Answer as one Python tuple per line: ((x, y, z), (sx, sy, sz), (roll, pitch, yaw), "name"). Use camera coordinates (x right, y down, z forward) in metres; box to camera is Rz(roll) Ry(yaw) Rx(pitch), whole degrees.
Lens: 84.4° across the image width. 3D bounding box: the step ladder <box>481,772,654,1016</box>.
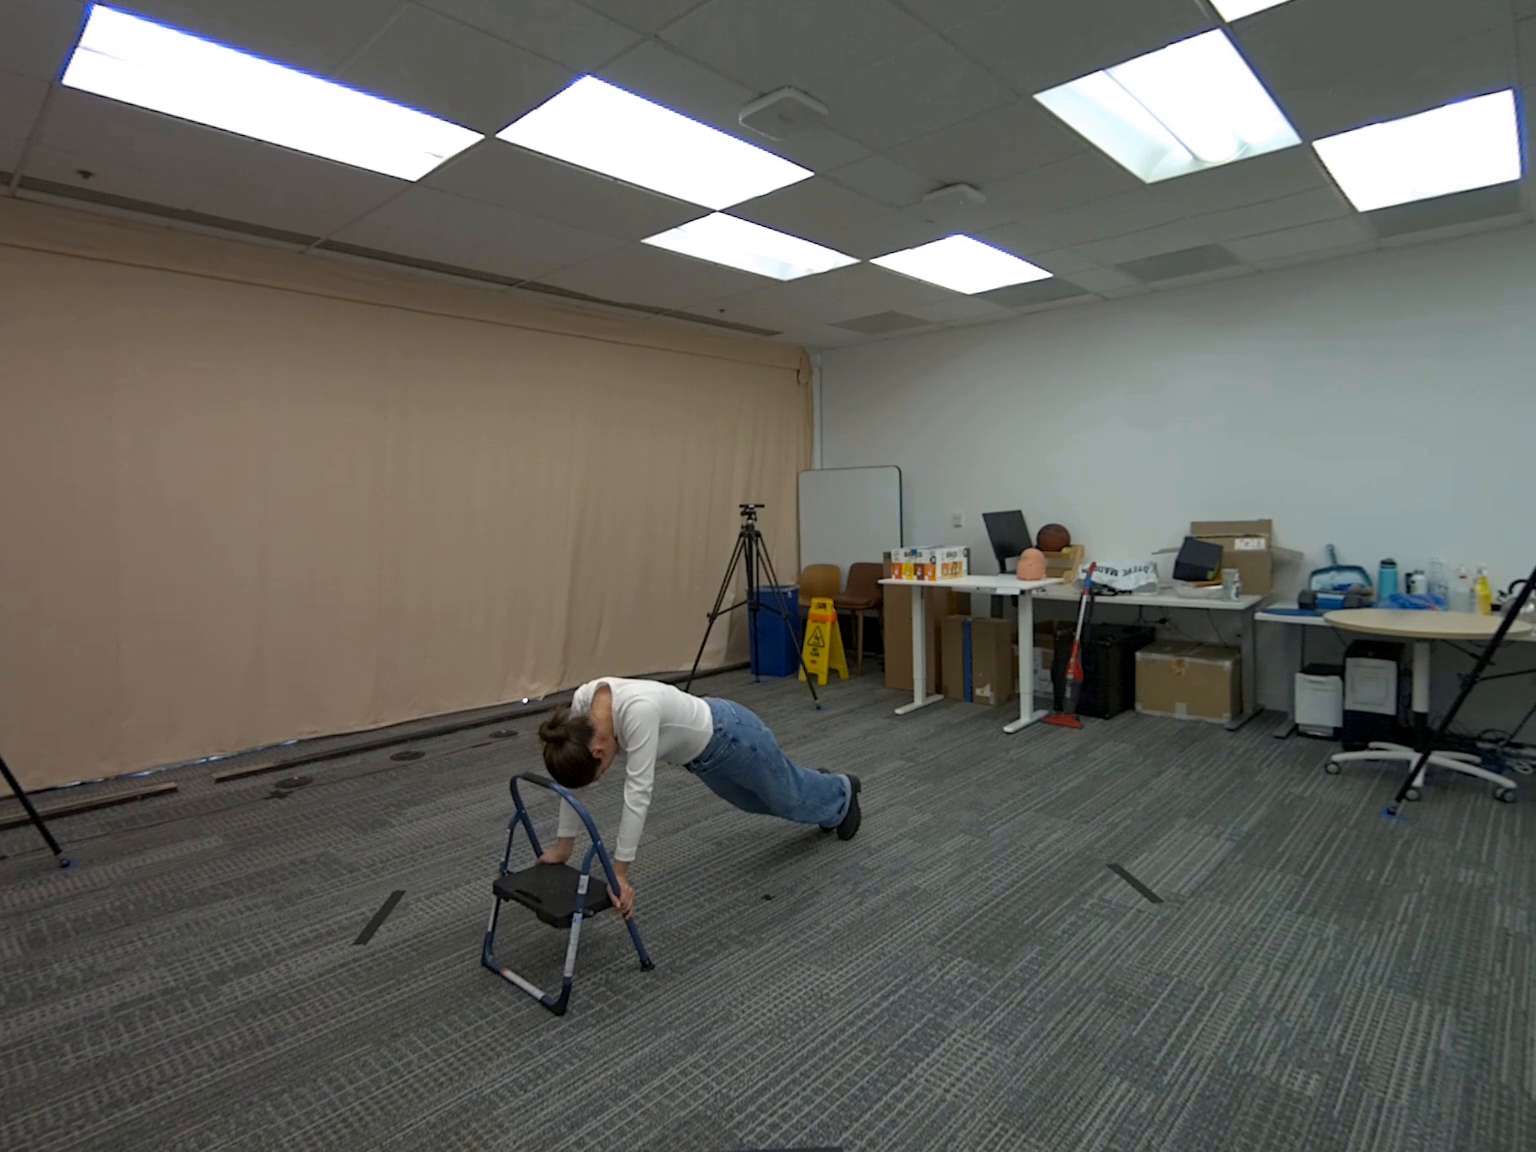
((-0.622, 0.892, 2.547), (0.445, 0.605, 0.339), (2, 4, 41), "step ladder")
